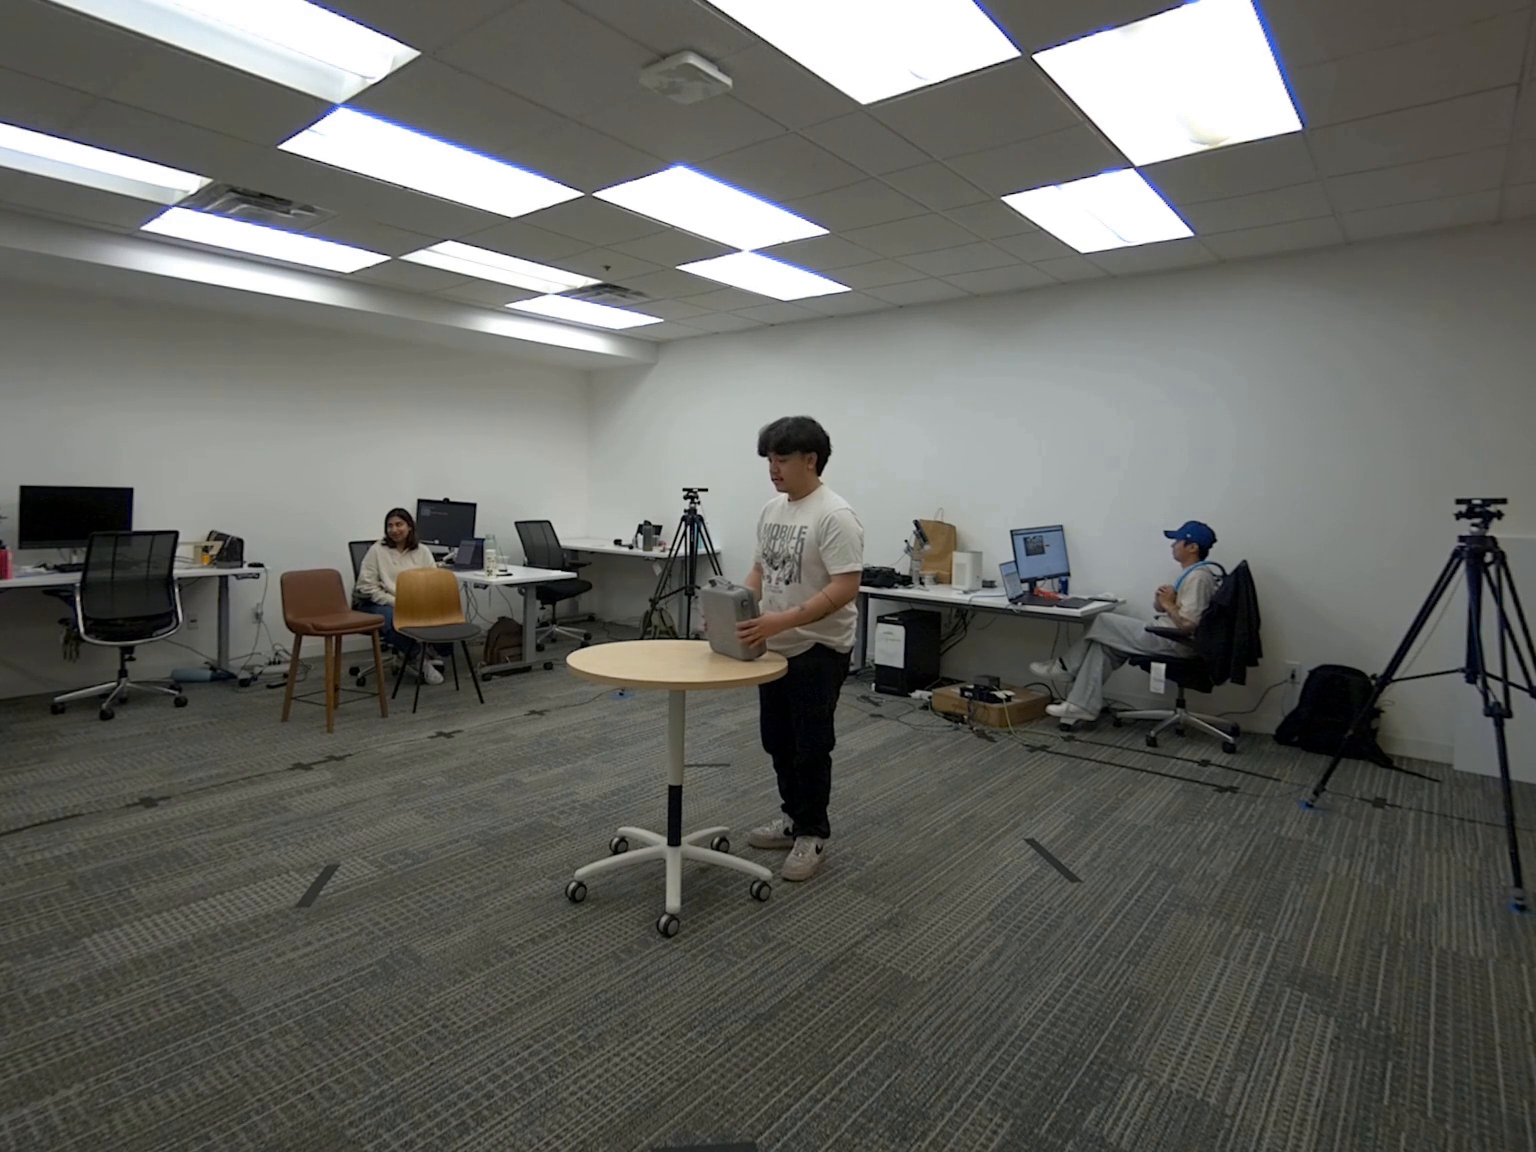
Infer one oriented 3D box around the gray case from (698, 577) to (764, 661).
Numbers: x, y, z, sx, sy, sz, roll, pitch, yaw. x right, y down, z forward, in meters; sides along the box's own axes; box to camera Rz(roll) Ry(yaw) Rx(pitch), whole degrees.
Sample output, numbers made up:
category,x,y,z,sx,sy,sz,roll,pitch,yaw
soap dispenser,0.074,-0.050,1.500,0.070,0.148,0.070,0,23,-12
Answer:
category,x,y,z,sx,sy,sz,roll,pitch,yaw
gray case,-0.148,0.147,3.028,0.102,0.258,0.264,-15,10,-29
